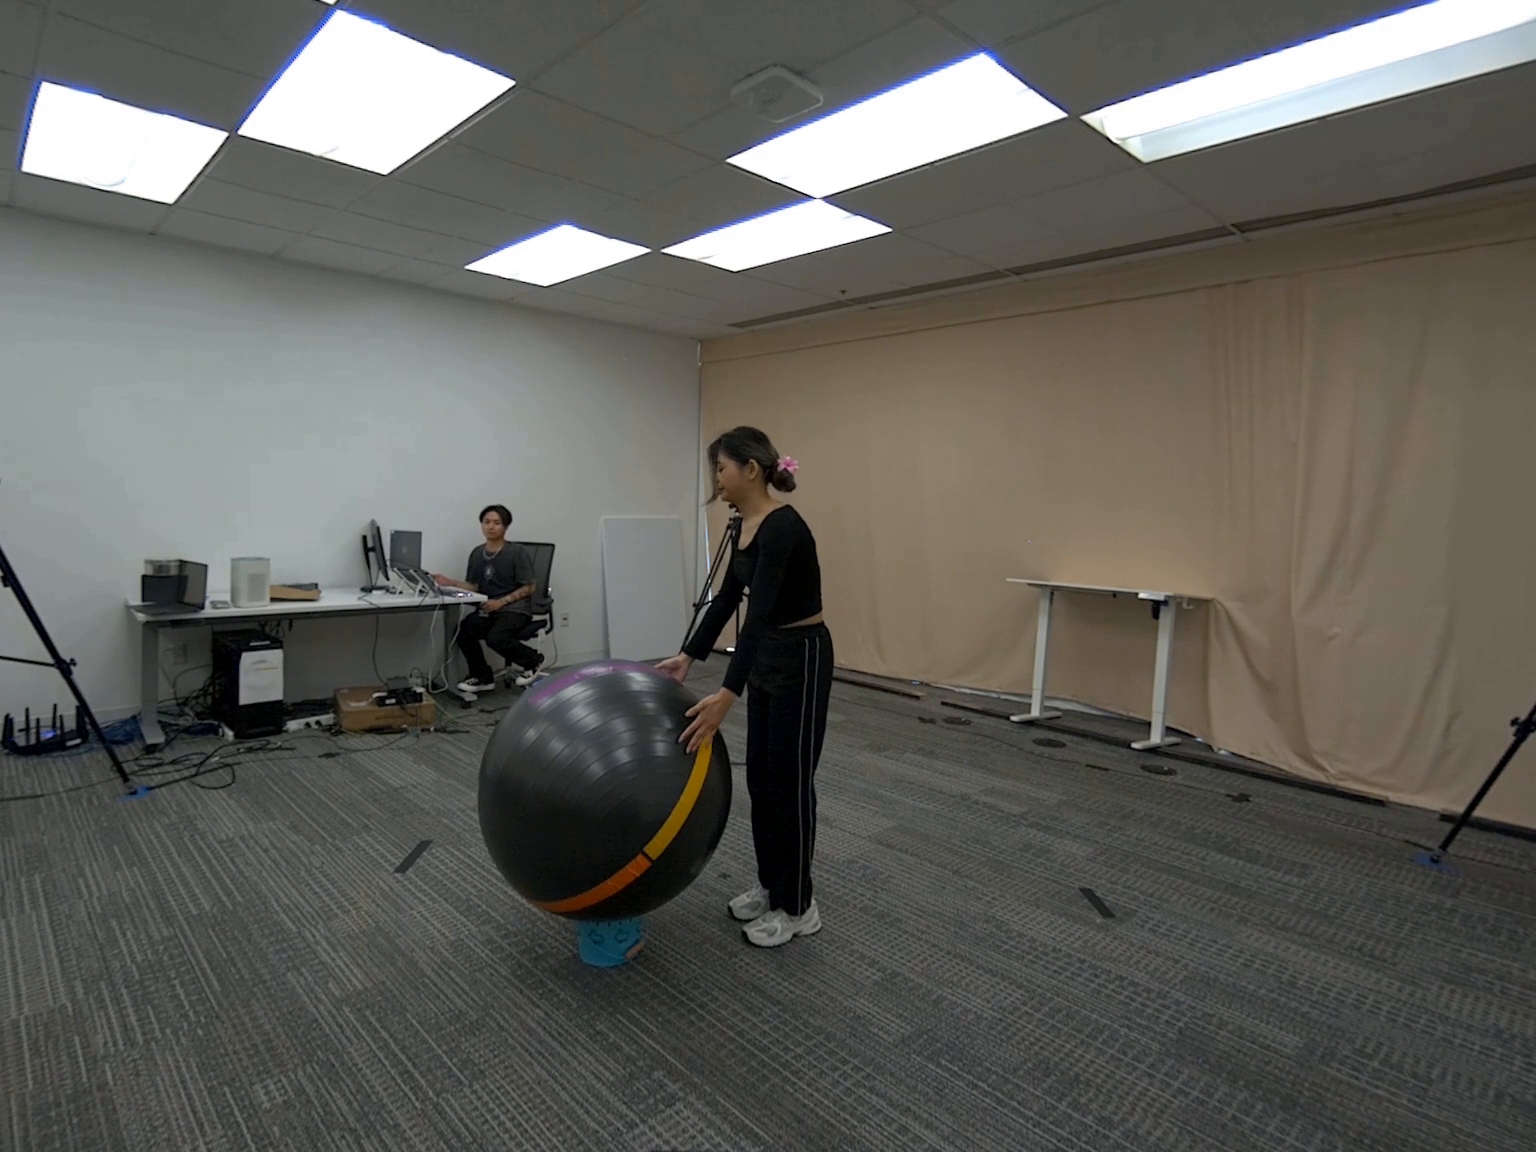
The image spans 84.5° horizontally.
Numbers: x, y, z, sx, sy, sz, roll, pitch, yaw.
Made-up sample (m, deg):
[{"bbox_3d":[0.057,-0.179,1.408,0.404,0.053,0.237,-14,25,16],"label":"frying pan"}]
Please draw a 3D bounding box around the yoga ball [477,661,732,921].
[{"bbox_3d":[-0.492,0.639,2.545,0.757,0.756,0.761,1,4,-1],"label":"yoga ball"}]
